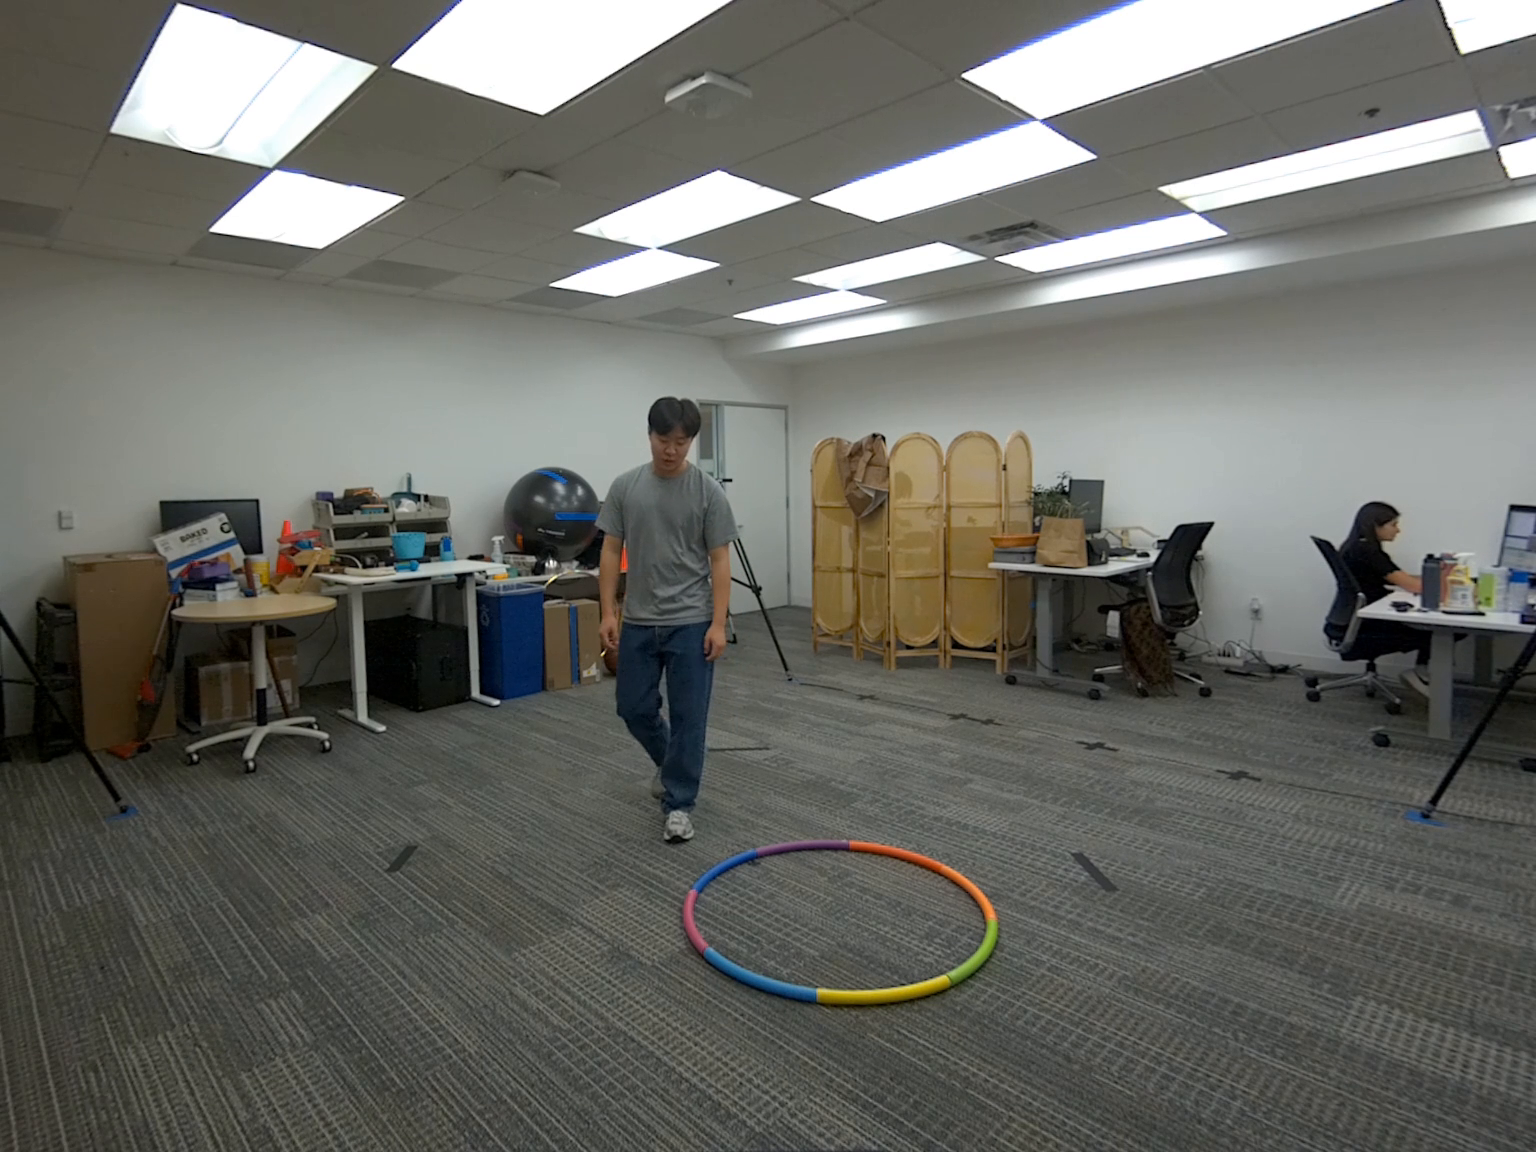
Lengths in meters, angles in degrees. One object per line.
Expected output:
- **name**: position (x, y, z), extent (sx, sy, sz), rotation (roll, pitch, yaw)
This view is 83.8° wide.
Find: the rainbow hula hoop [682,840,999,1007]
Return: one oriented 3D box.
- **rainbow hula hoop**: position (0.217, 1.054, 2.741), extent (0.978, 0.035, 0.984), rotation (-2, 7, -2)
